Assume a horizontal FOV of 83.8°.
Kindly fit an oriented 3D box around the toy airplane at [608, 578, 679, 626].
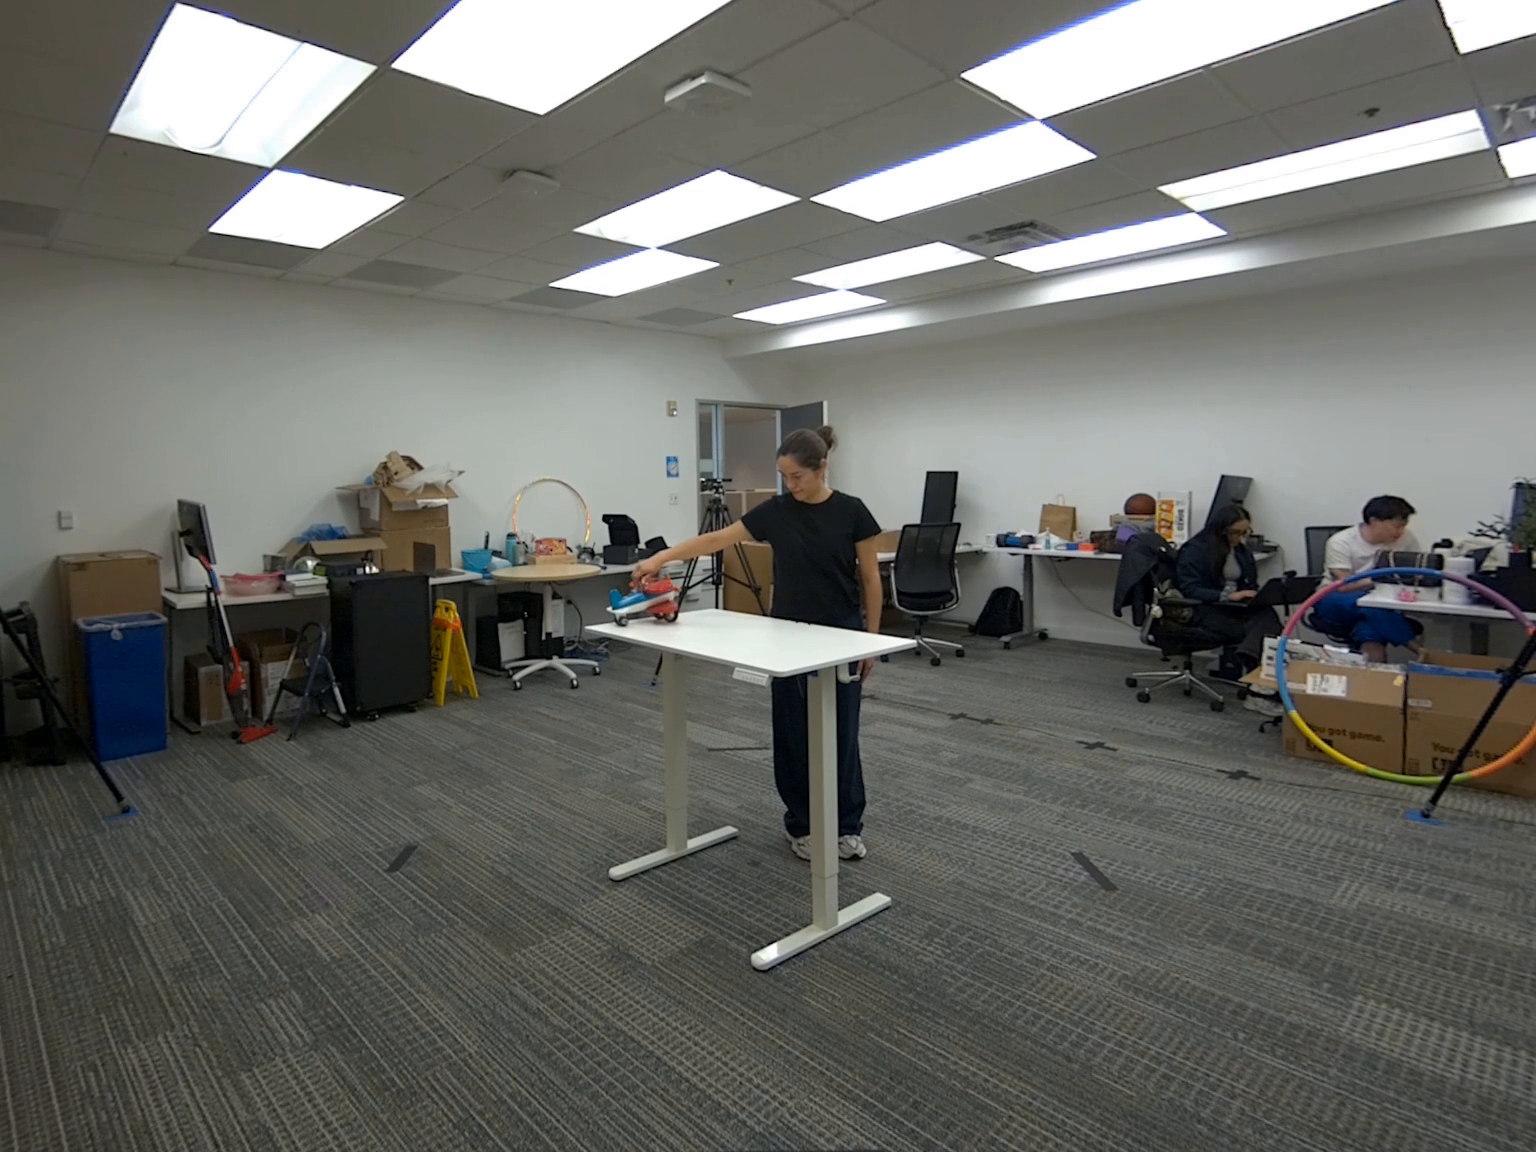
[{"bbox_3d":[-0.433,0.094,3.095,0.257,0.156,0.253,2,5,28],"label":"toy airplane"}]
